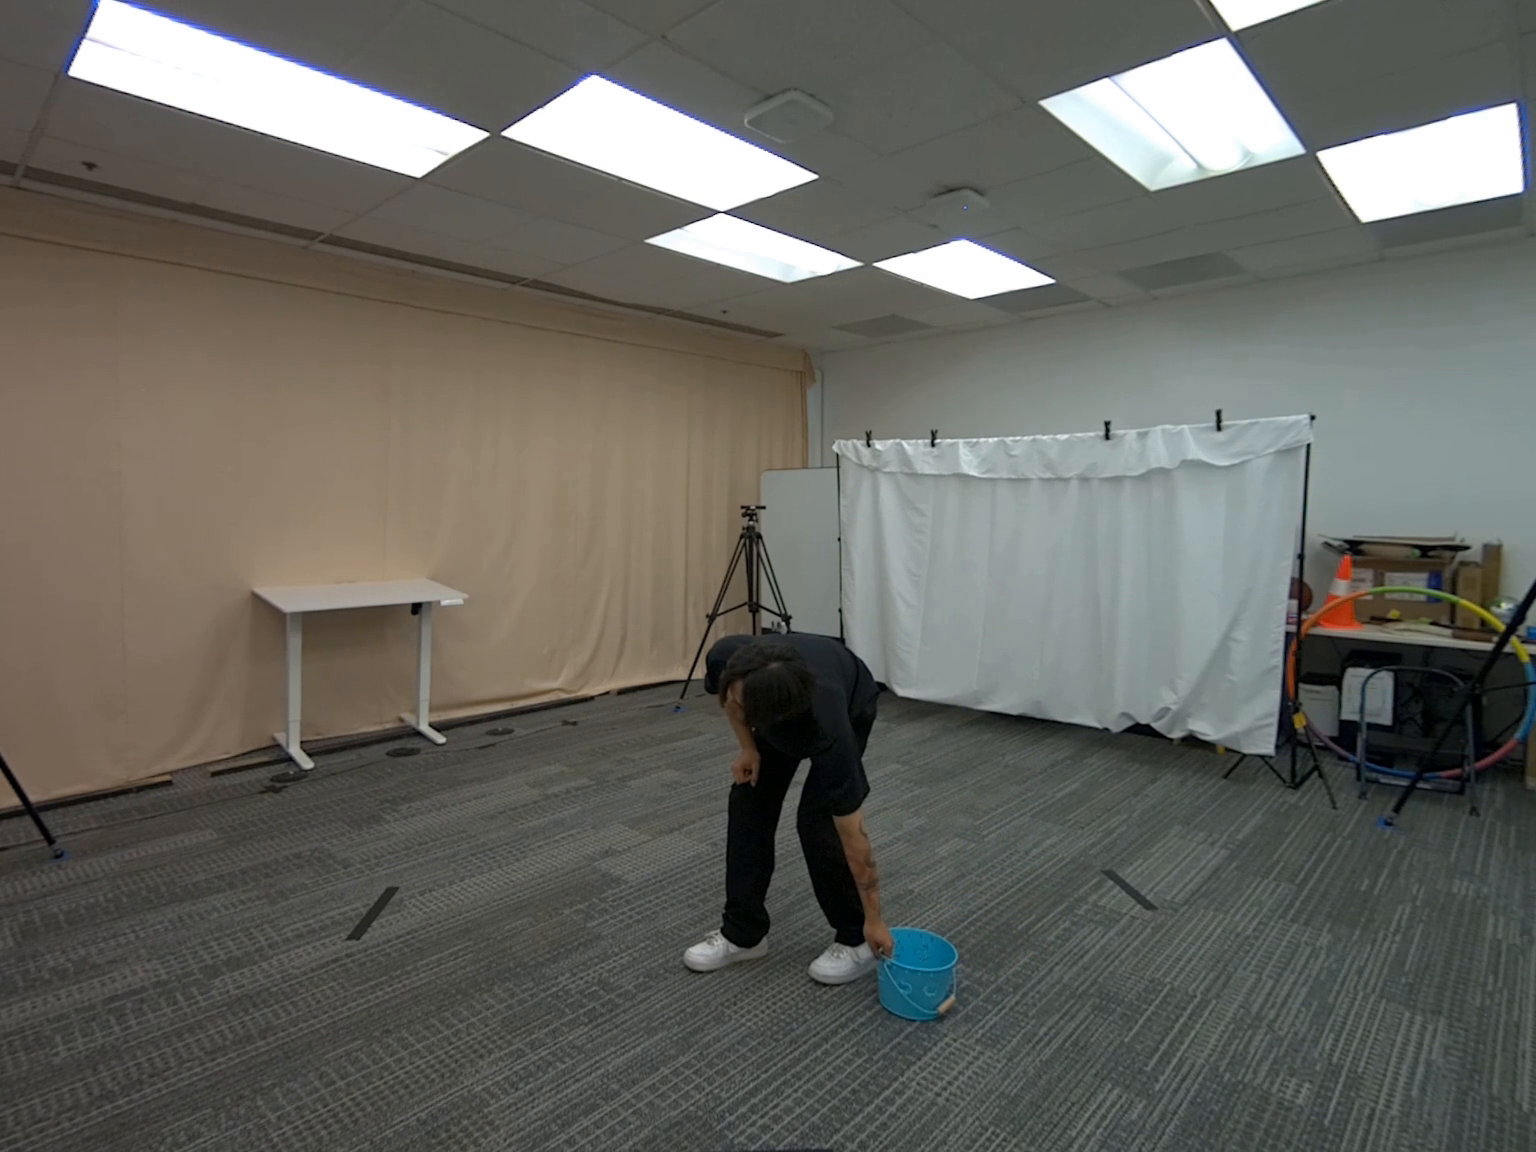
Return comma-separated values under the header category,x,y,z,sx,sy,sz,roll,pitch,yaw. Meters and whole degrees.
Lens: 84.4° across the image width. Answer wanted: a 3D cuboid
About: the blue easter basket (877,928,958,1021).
category,x,y,z,sx,sy,sz,roll,pitch,yaw
blue easter basket,0.416,1.117,2.361,0.243,0.155,0.244,1,3,-2
